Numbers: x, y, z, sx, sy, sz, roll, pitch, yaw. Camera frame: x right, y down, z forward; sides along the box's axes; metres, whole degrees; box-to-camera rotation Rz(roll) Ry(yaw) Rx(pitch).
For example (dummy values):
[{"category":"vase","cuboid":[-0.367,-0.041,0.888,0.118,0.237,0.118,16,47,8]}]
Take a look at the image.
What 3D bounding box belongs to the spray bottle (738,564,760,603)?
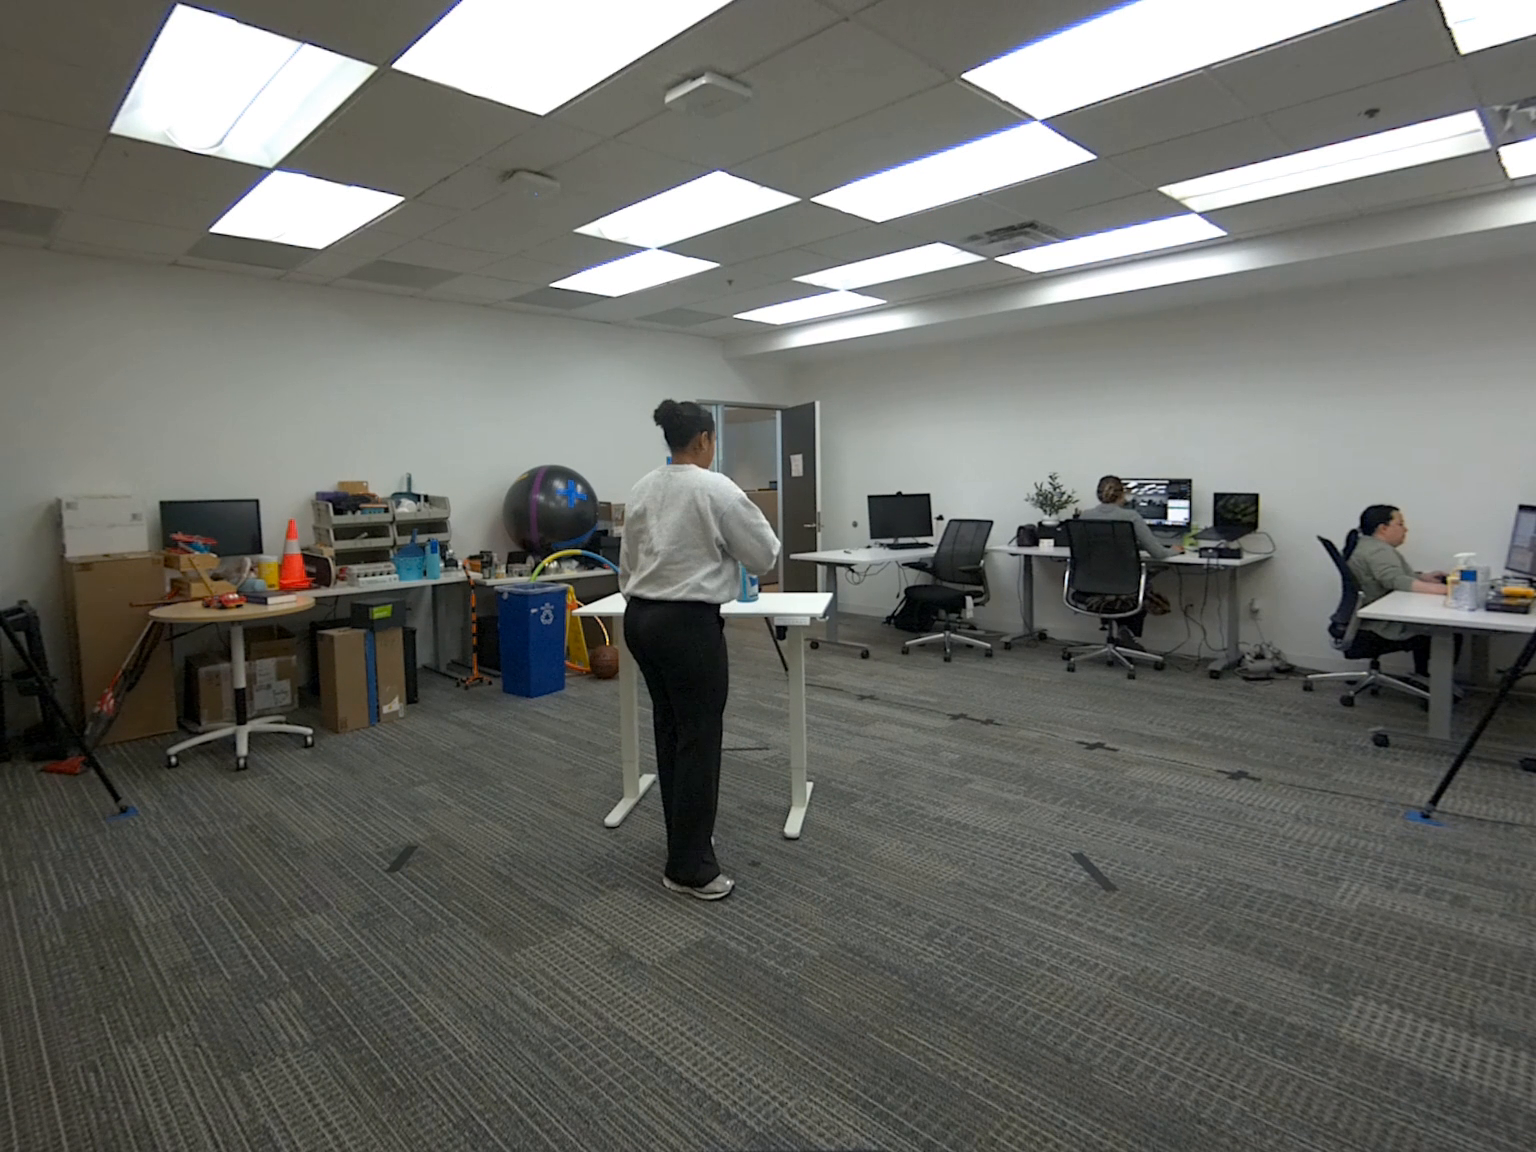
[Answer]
[{"category":"spray bottle","cuboid":[-0.082,-0.032,3.209,0.088,0.295,0.090,-1,6,9]}]
